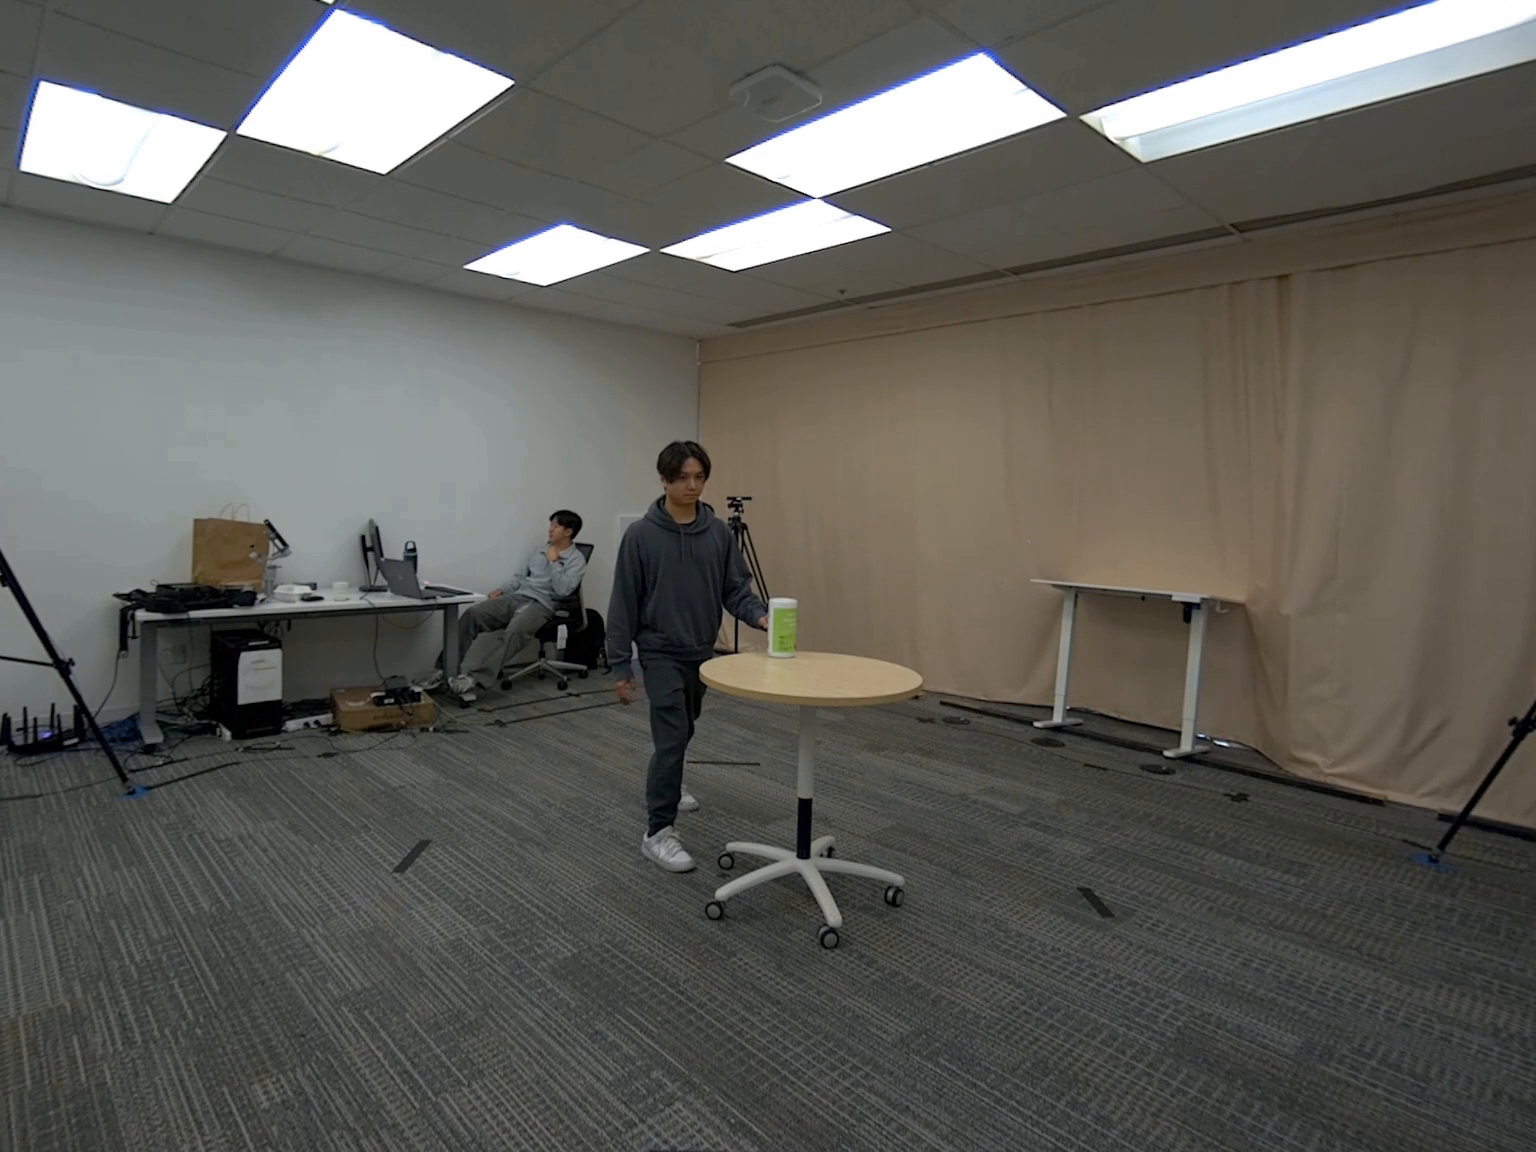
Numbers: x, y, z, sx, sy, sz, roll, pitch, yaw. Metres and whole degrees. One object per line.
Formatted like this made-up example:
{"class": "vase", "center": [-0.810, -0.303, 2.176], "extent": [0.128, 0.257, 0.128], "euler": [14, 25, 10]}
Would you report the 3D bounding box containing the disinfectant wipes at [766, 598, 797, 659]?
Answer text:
{"class": "disinfectant wipes", "center": [0.042, 0.194, 3.197], "extent": [0.118, 0.217, 0.118], "euler": [2, 4, -2]}
